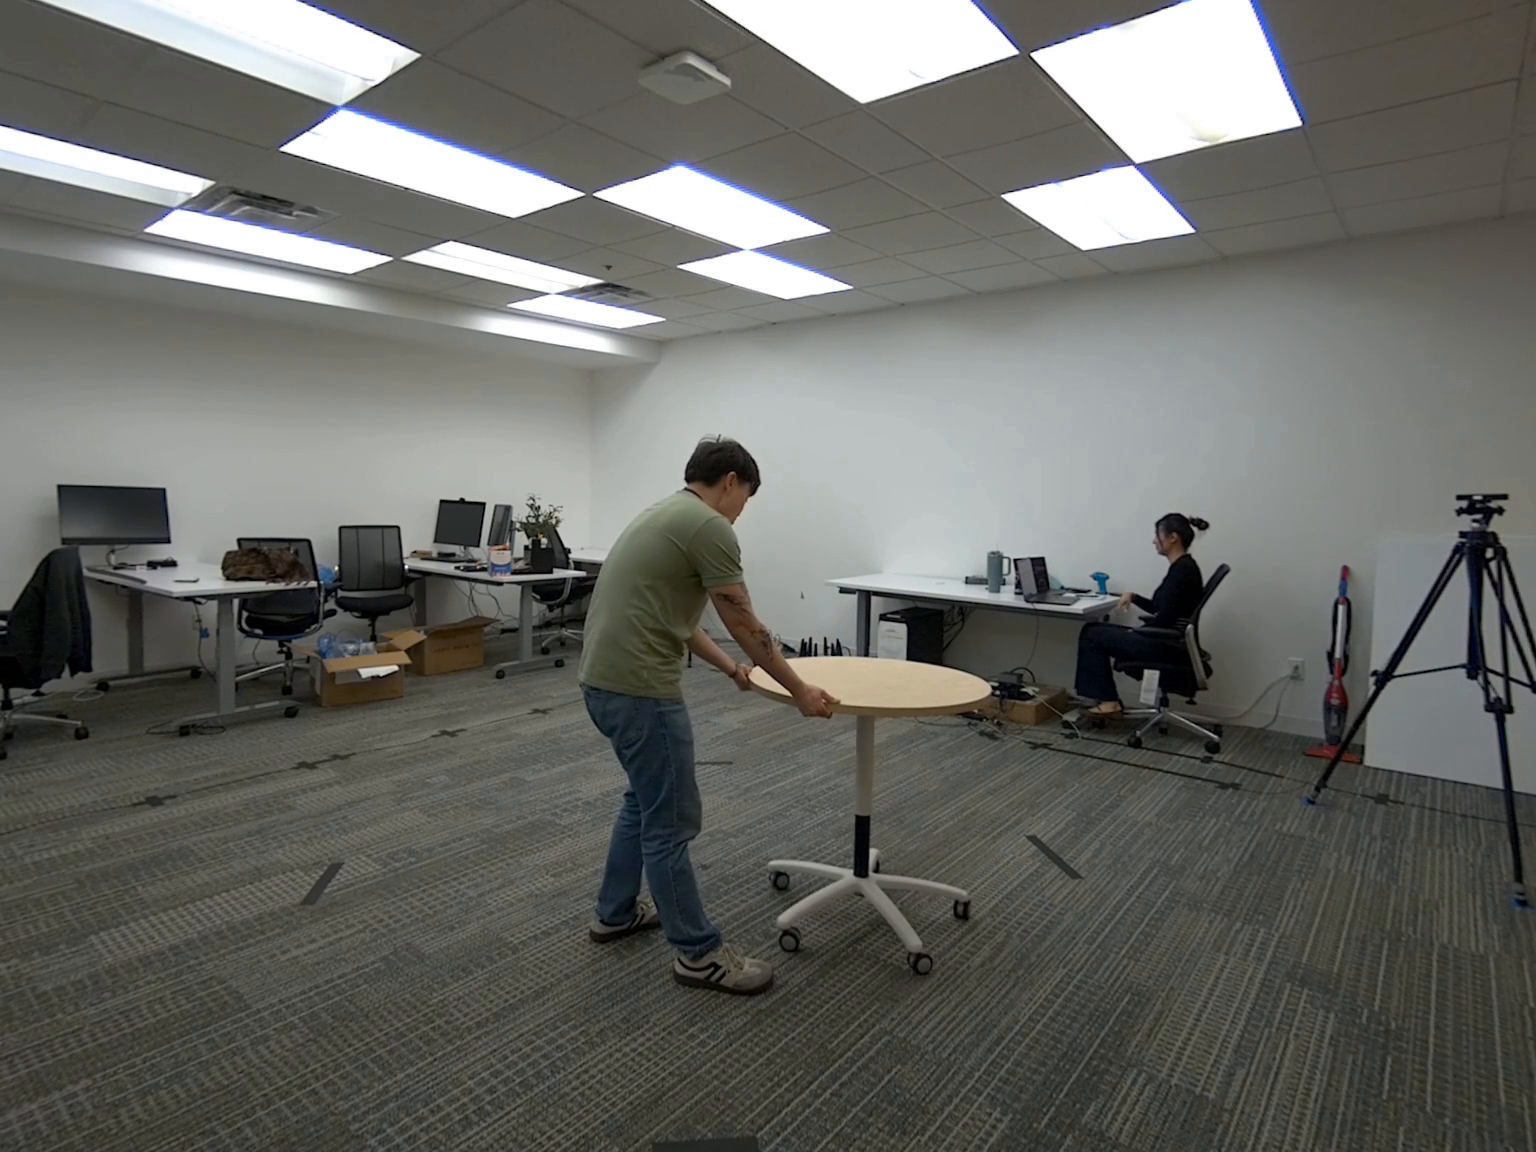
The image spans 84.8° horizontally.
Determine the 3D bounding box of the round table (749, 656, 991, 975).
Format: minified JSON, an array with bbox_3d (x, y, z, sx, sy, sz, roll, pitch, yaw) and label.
[{"bbox_3d":[0.307,0.721,2.756,0.763,0.792,0.767,1,4,-2],"label":"round table"}]
